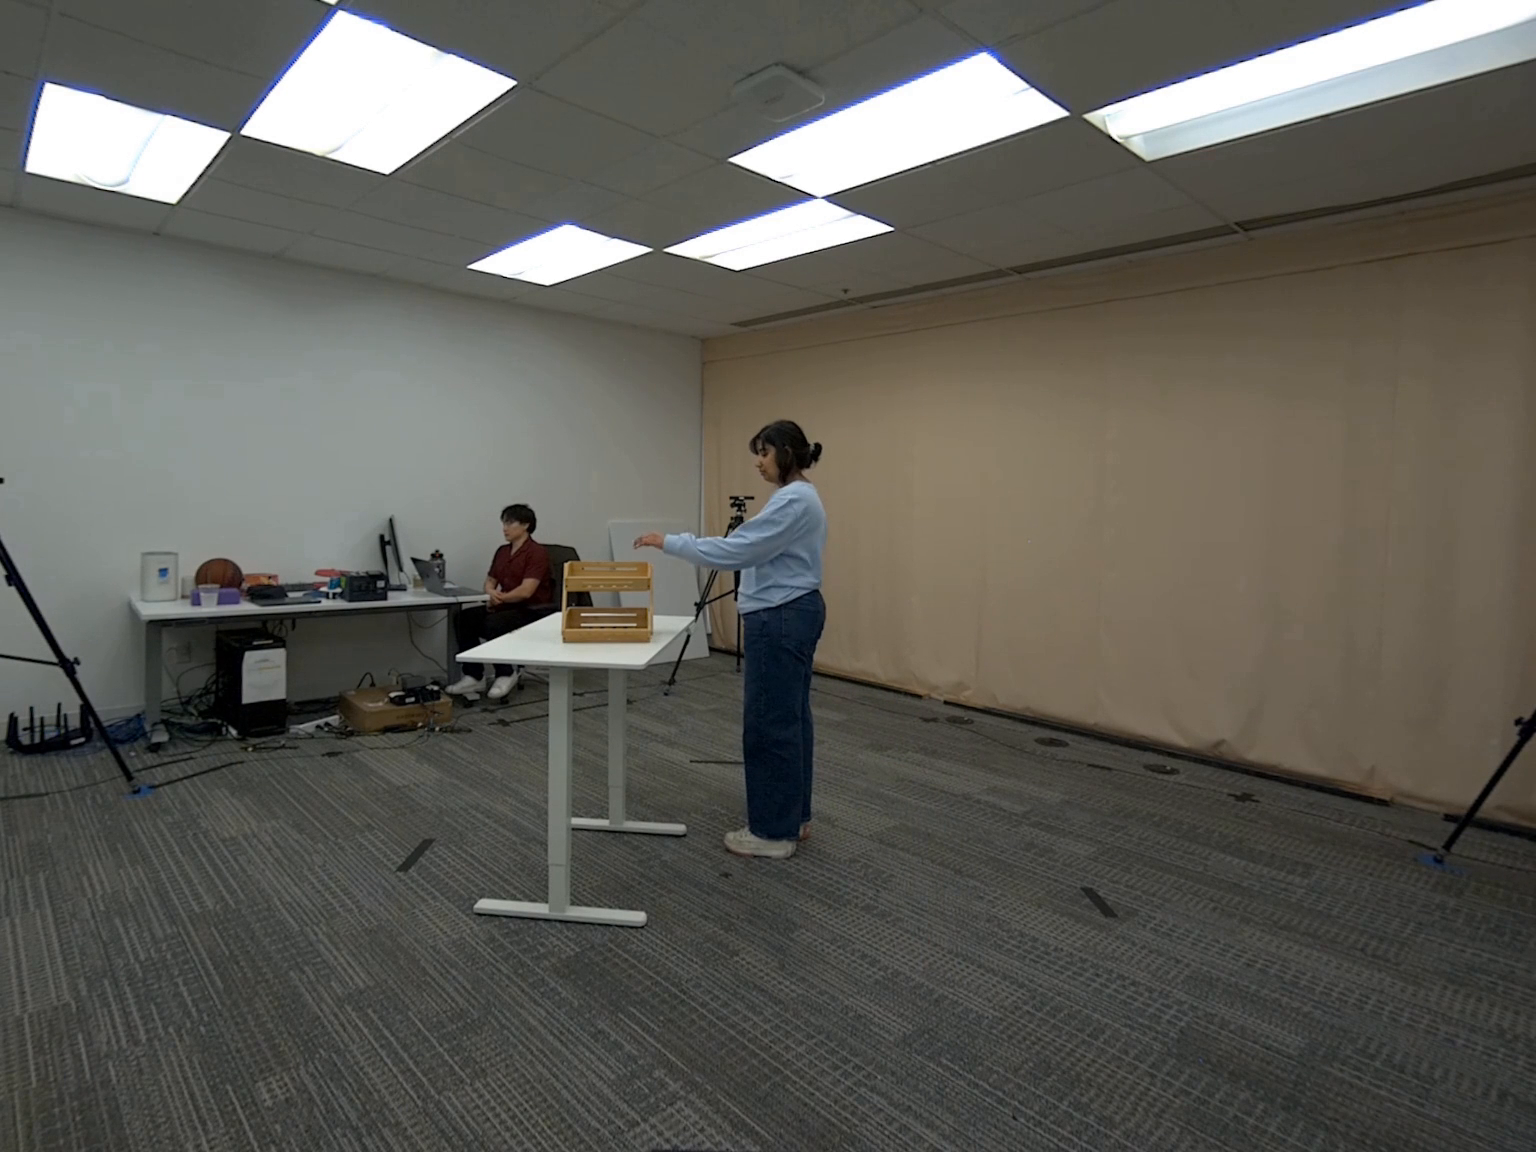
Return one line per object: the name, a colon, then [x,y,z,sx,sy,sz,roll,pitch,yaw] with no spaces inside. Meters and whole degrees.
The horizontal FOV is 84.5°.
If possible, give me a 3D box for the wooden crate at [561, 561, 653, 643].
wooden crate: [-0.587,0.087,3.027,0.322,0.273,0.304,0,3,-8]
